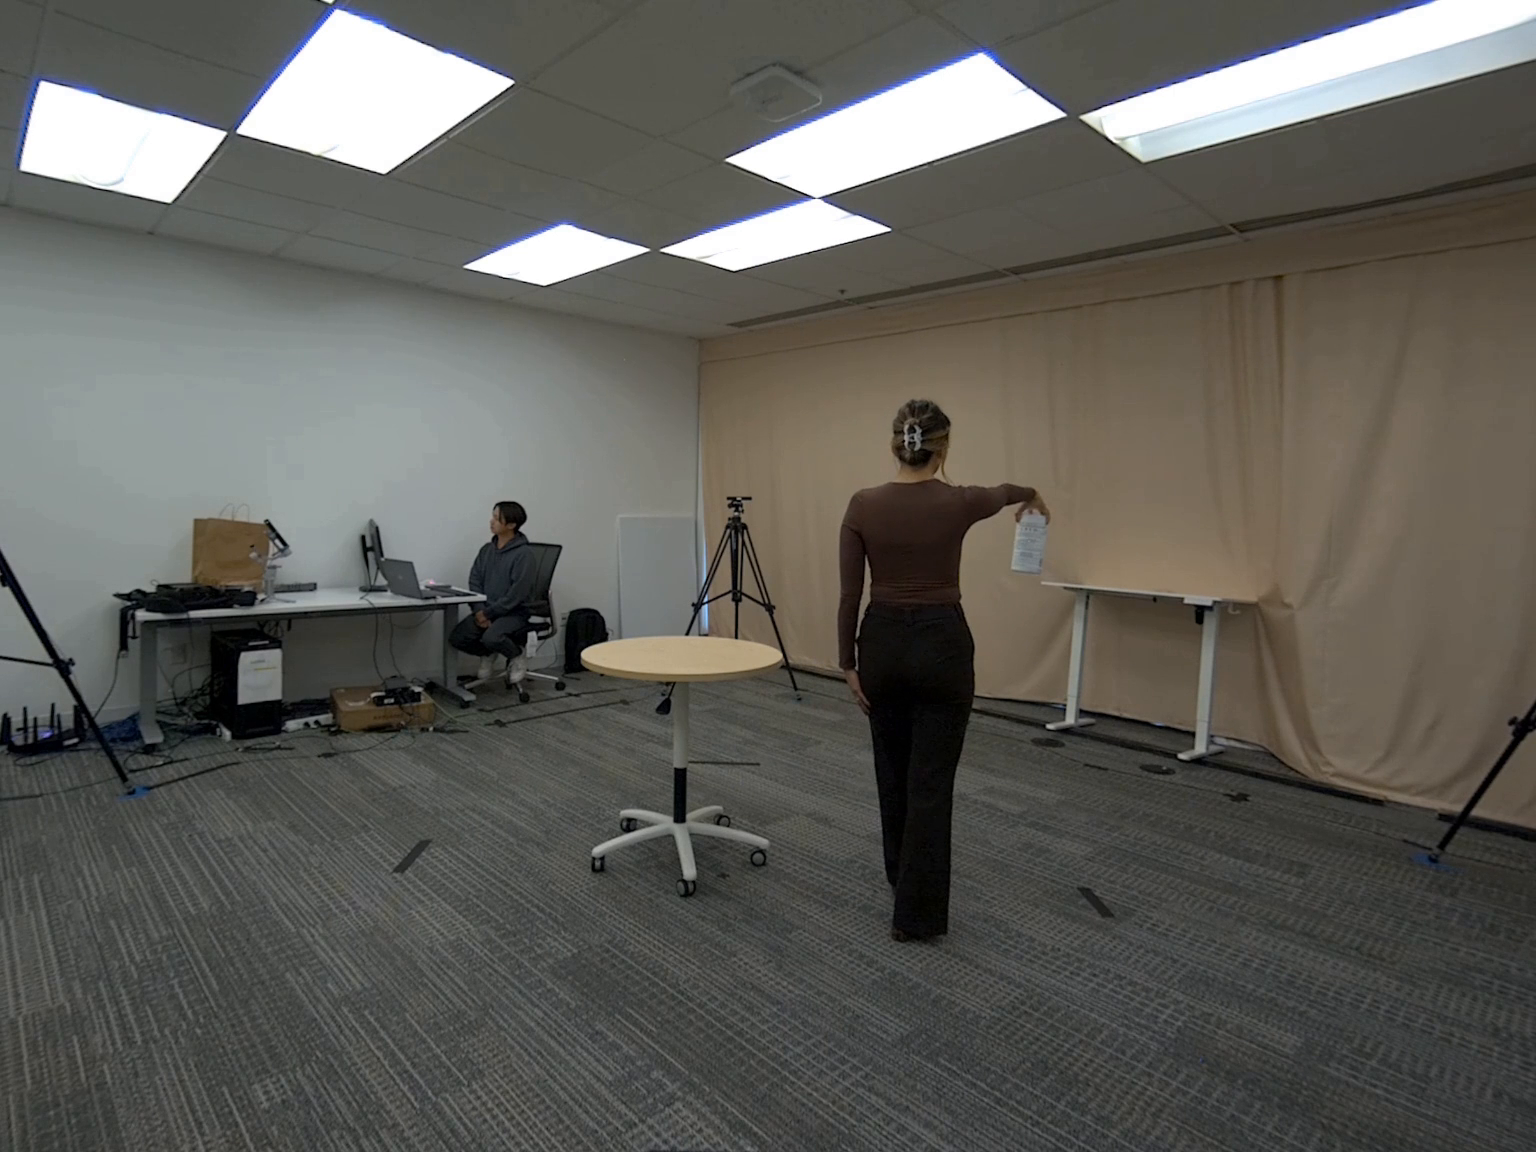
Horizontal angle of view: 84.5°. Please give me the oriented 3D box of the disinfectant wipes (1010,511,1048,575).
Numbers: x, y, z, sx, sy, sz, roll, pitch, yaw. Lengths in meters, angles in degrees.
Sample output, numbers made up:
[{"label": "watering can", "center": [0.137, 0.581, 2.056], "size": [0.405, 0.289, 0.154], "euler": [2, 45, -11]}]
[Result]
[{"label": "disinfectant wipes", "center": [0.960, -0.121, 3.114], "size": [0.118, 0.217, 0.118], "euler": [4, 3, -2]}]
